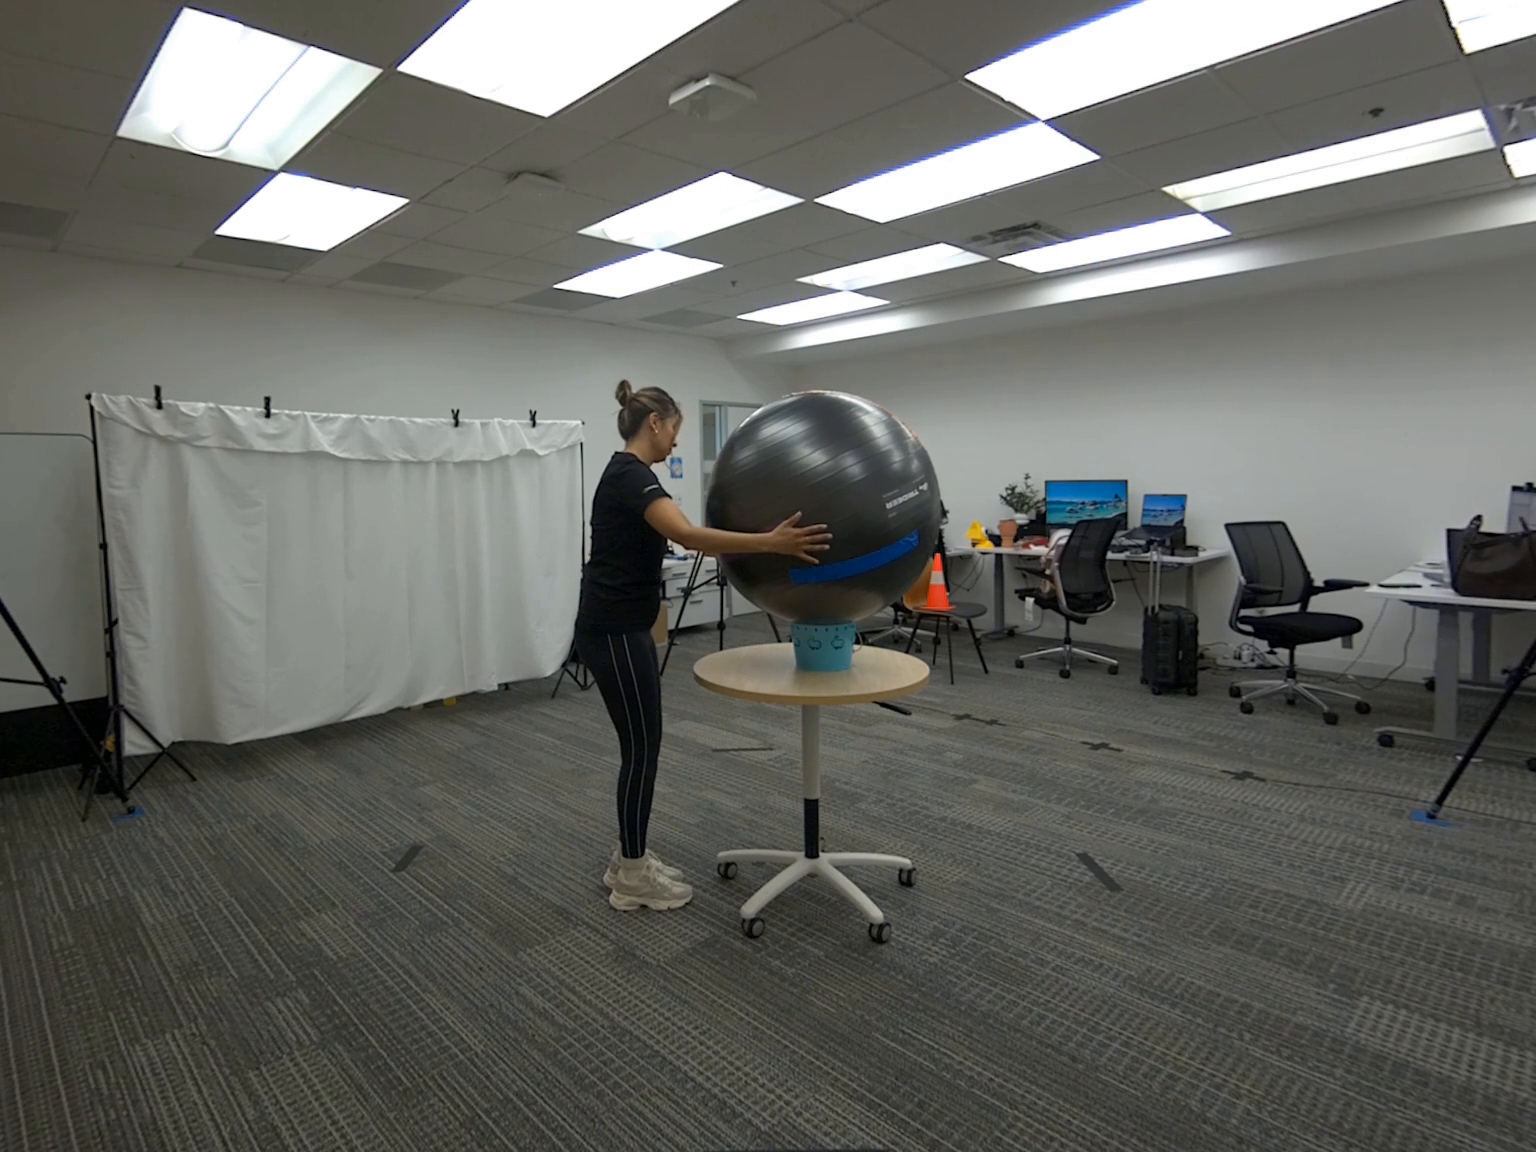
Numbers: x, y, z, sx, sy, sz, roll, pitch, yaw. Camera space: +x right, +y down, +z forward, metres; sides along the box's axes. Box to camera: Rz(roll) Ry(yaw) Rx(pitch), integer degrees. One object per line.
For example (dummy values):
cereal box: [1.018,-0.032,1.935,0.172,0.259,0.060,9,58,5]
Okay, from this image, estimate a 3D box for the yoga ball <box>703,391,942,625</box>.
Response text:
yoga ball: [0.189,-0.213,2.767,0.757,0.755,0.762,-1,5,-2]
